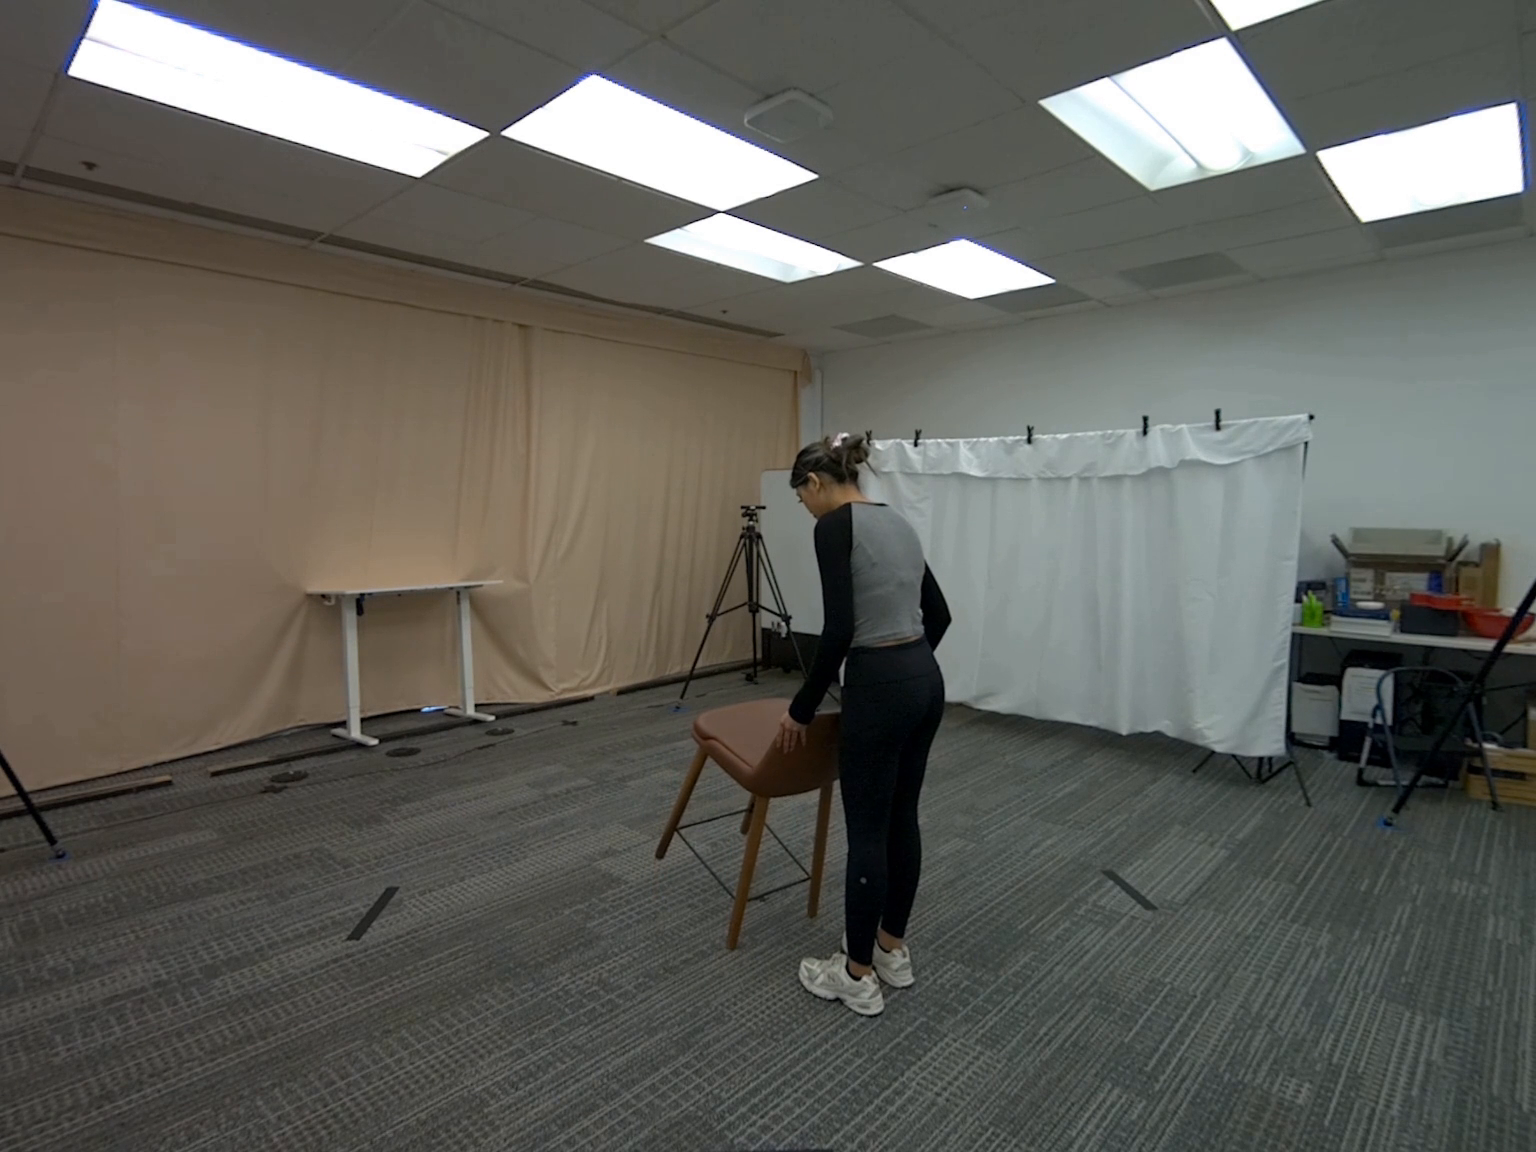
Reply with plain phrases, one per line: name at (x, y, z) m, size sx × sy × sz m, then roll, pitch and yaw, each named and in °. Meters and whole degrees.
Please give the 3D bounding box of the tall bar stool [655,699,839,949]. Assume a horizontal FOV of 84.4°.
tall bar stool at (0.002, 0.681, 2.753) m, size 0.443 × 0.884 × 0.485 m, roll -2°, pitch 28°, yaw -38°
